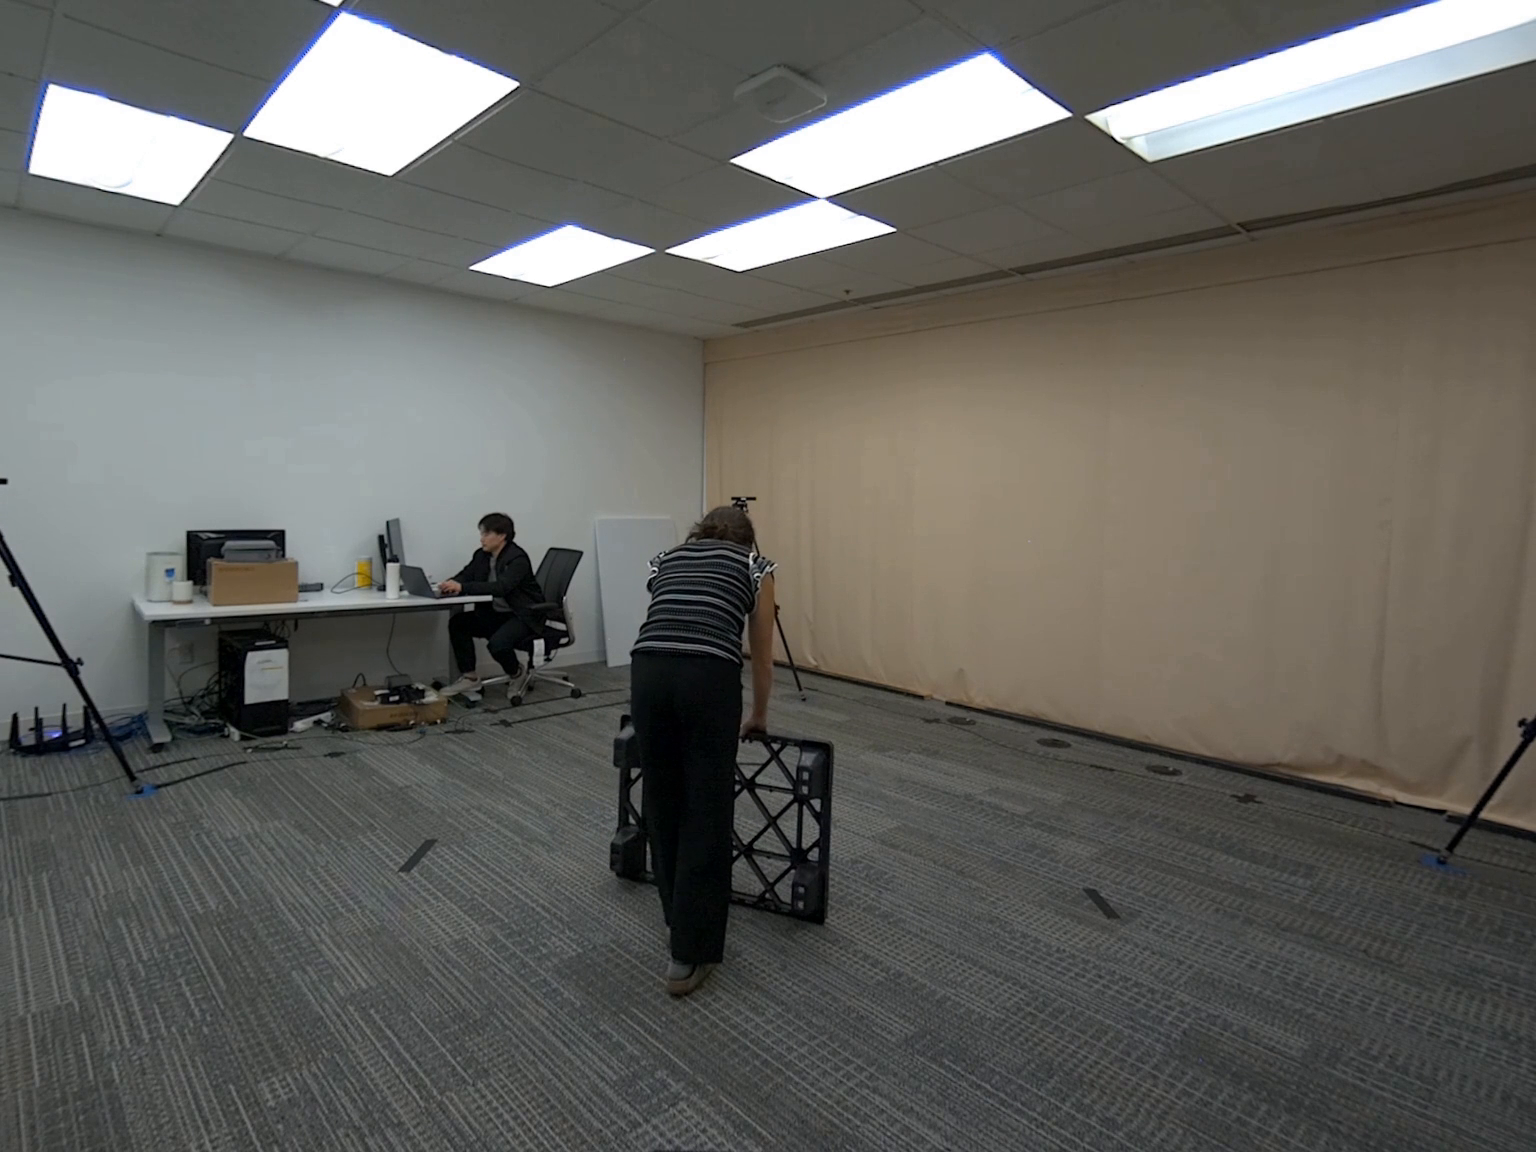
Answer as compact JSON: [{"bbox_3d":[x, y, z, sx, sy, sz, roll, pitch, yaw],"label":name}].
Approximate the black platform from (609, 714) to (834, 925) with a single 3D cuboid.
[{"bbox_3d":[-0.192,0.829,2.882,0.820,0.605,0.141,3,0,23],"label":"black platform"}]
